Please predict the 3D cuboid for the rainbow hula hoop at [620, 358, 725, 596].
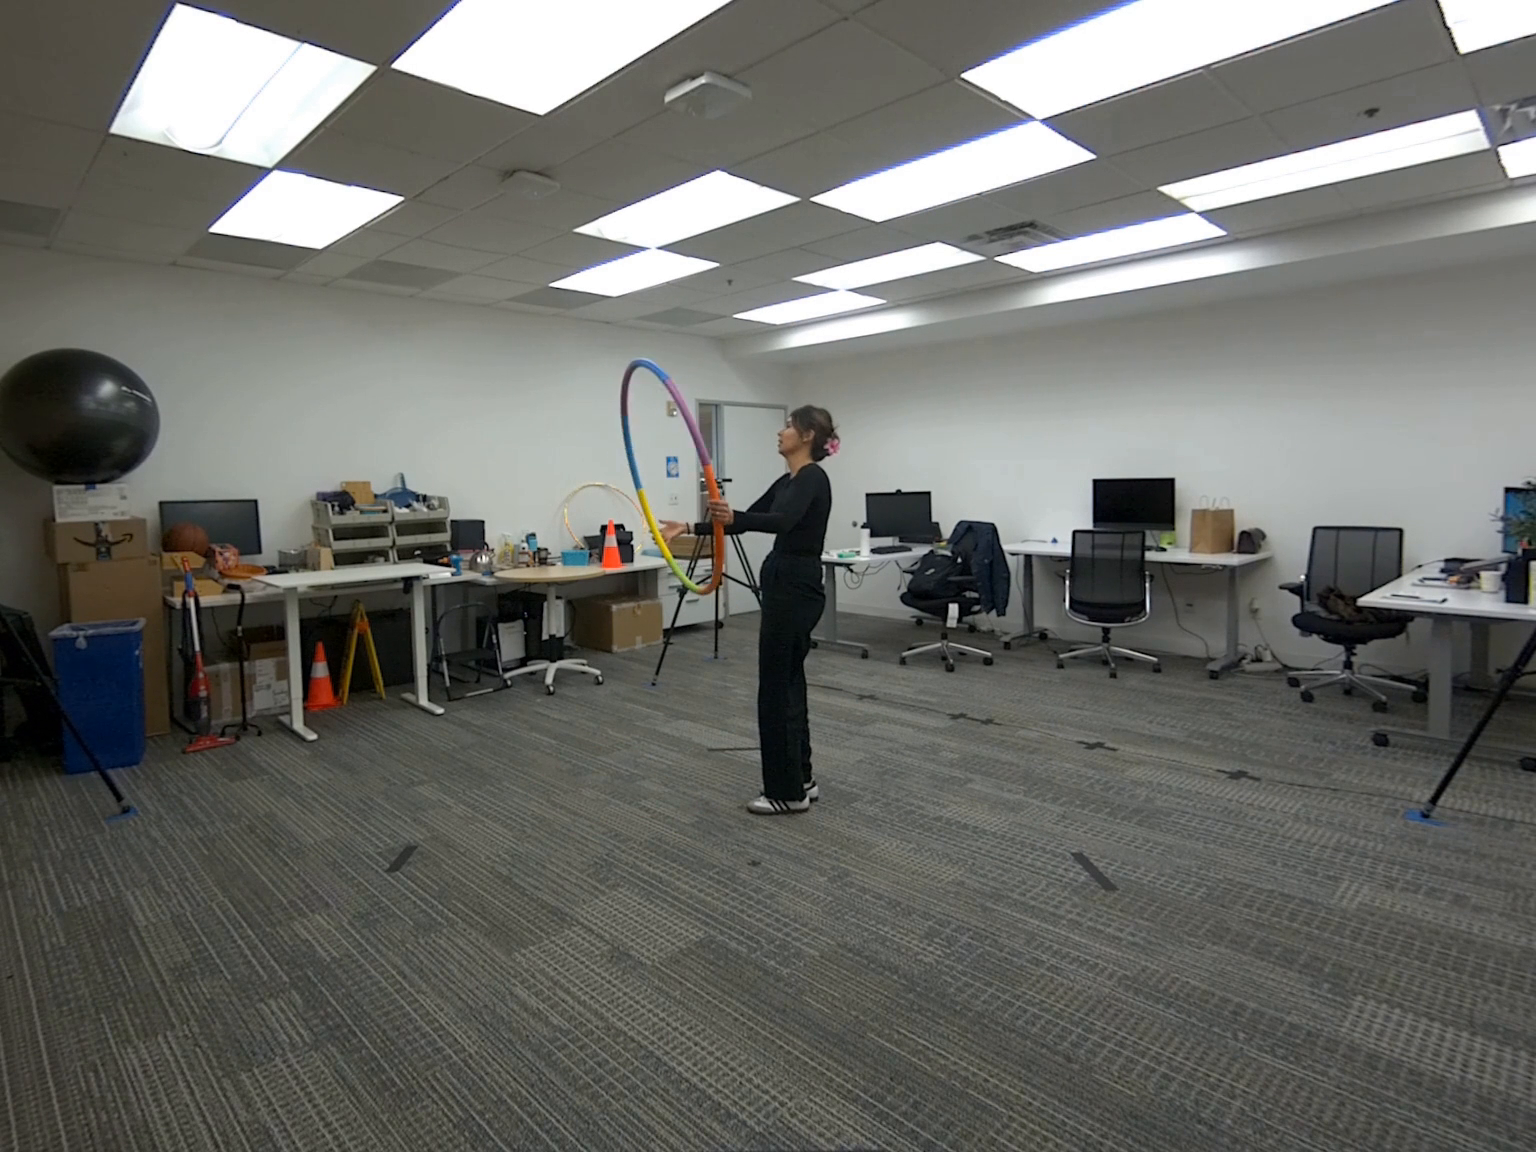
[{"bbox_3d":[-0.409,-0.393,3.491,0.051,0.975,1.008,-18,11,-21],"label":"rainbow hula hoop"}]
